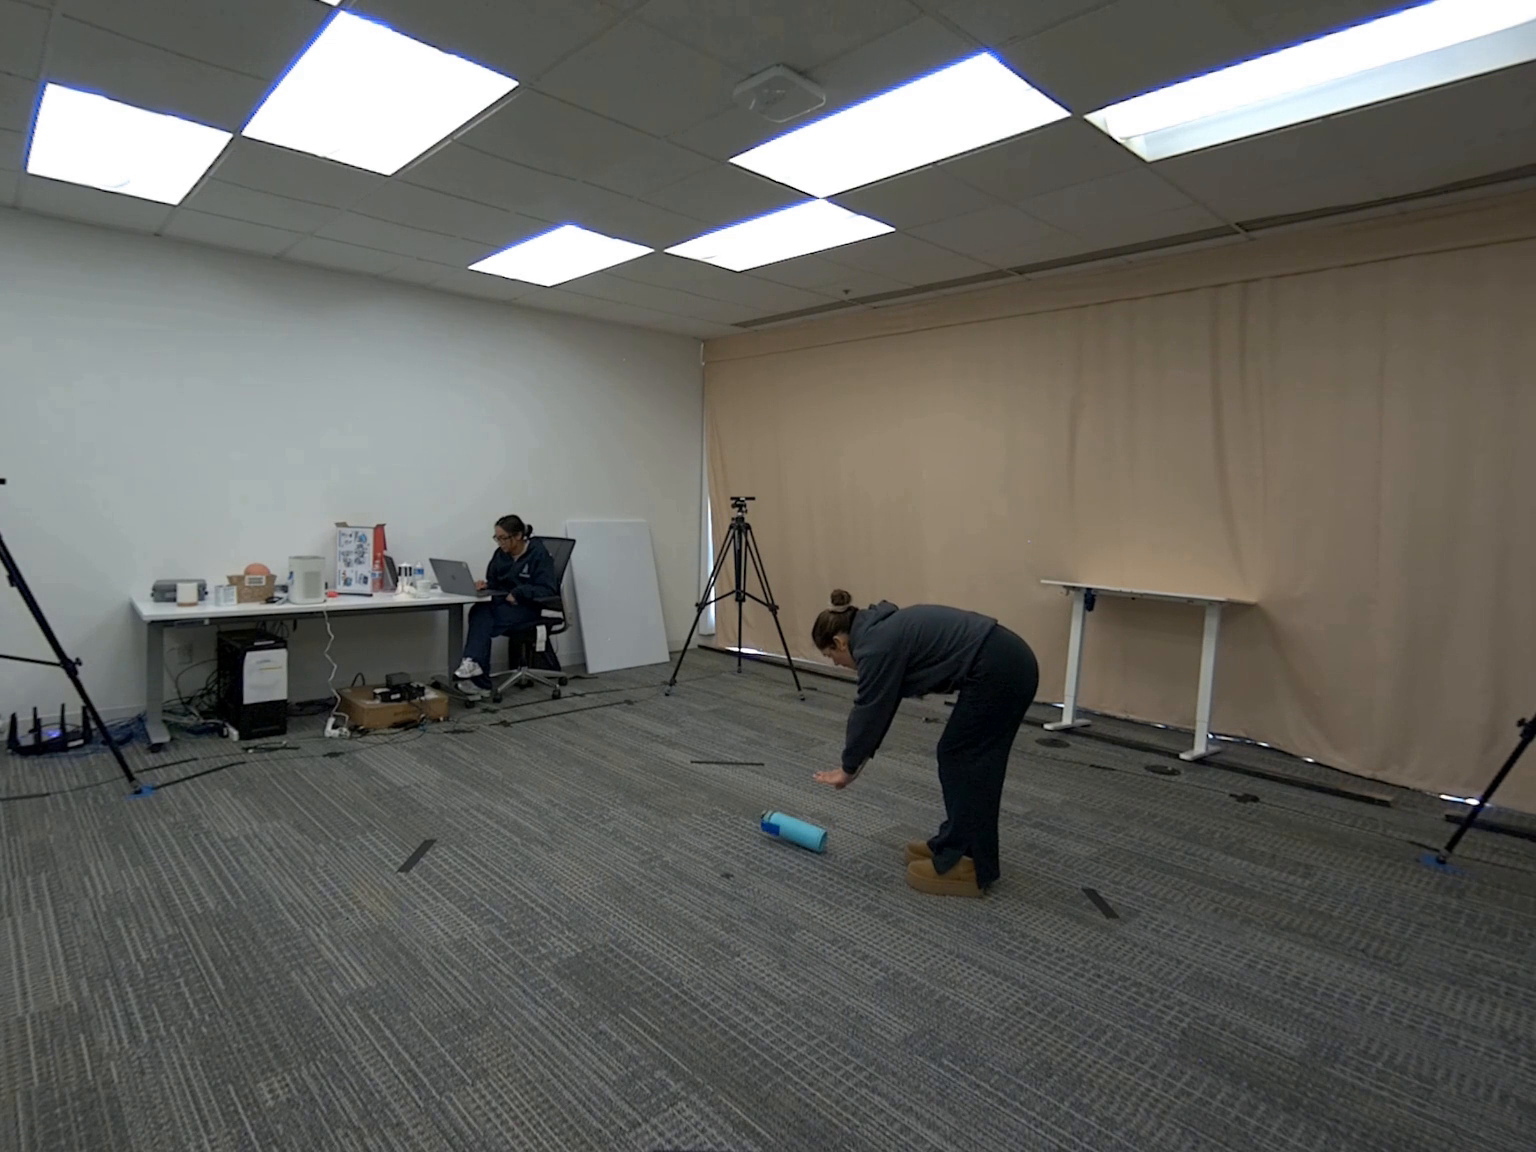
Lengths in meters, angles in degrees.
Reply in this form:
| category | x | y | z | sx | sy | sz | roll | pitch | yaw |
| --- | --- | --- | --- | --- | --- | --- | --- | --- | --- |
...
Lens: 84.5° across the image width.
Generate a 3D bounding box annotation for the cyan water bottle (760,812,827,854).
| category | x | y | z | sx | sy | sz | roll | pitch | yaw |
| --- | --- | --- | --- | --- | --- | --- | --- | --- | --- |
| cyan water bottle | 0.084 | 1.023 | 3.410 | 0.290 | 0.092 | 0.091 | 12 | 9 | 27 |
